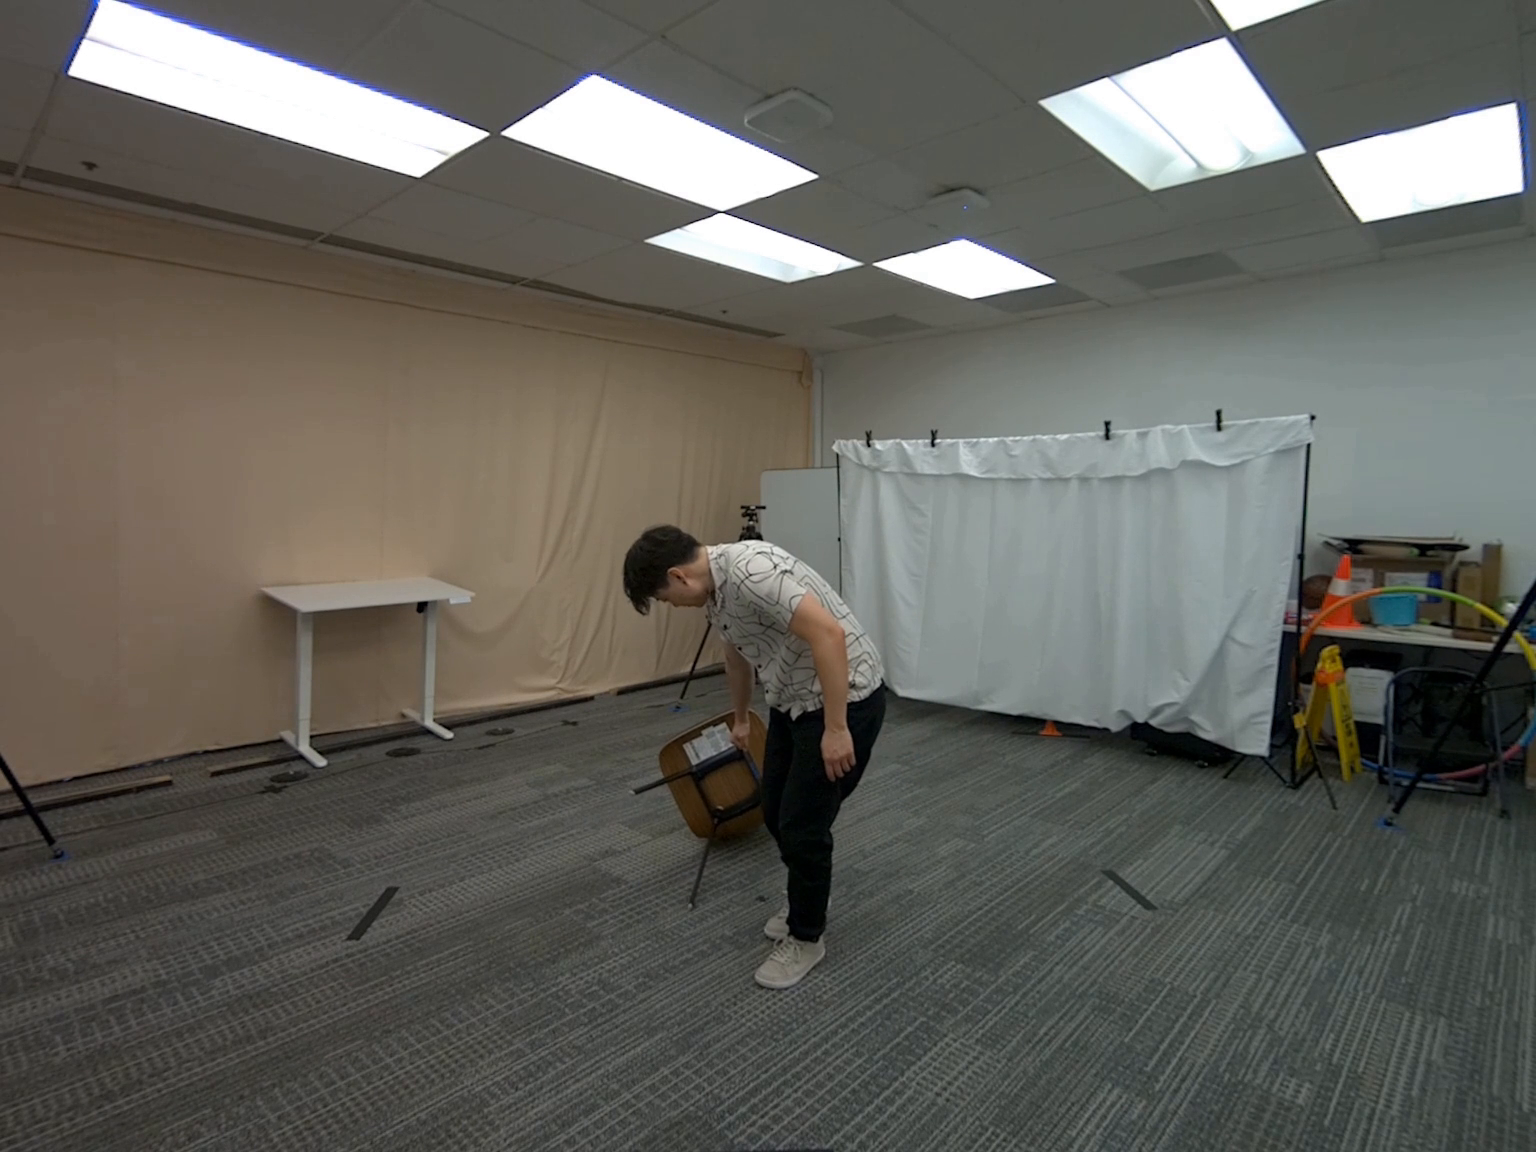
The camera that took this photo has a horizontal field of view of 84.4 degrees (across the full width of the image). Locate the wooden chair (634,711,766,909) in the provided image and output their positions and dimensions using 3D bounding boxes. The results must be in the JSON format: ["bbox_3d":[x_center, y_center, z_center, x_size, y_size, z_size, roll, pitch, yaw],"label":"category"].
[{"bbox_3d":[-0.158,0.822,3.303,0.480,0.526,0.869,-27,-4,5],"label":"wooden chair"}]
